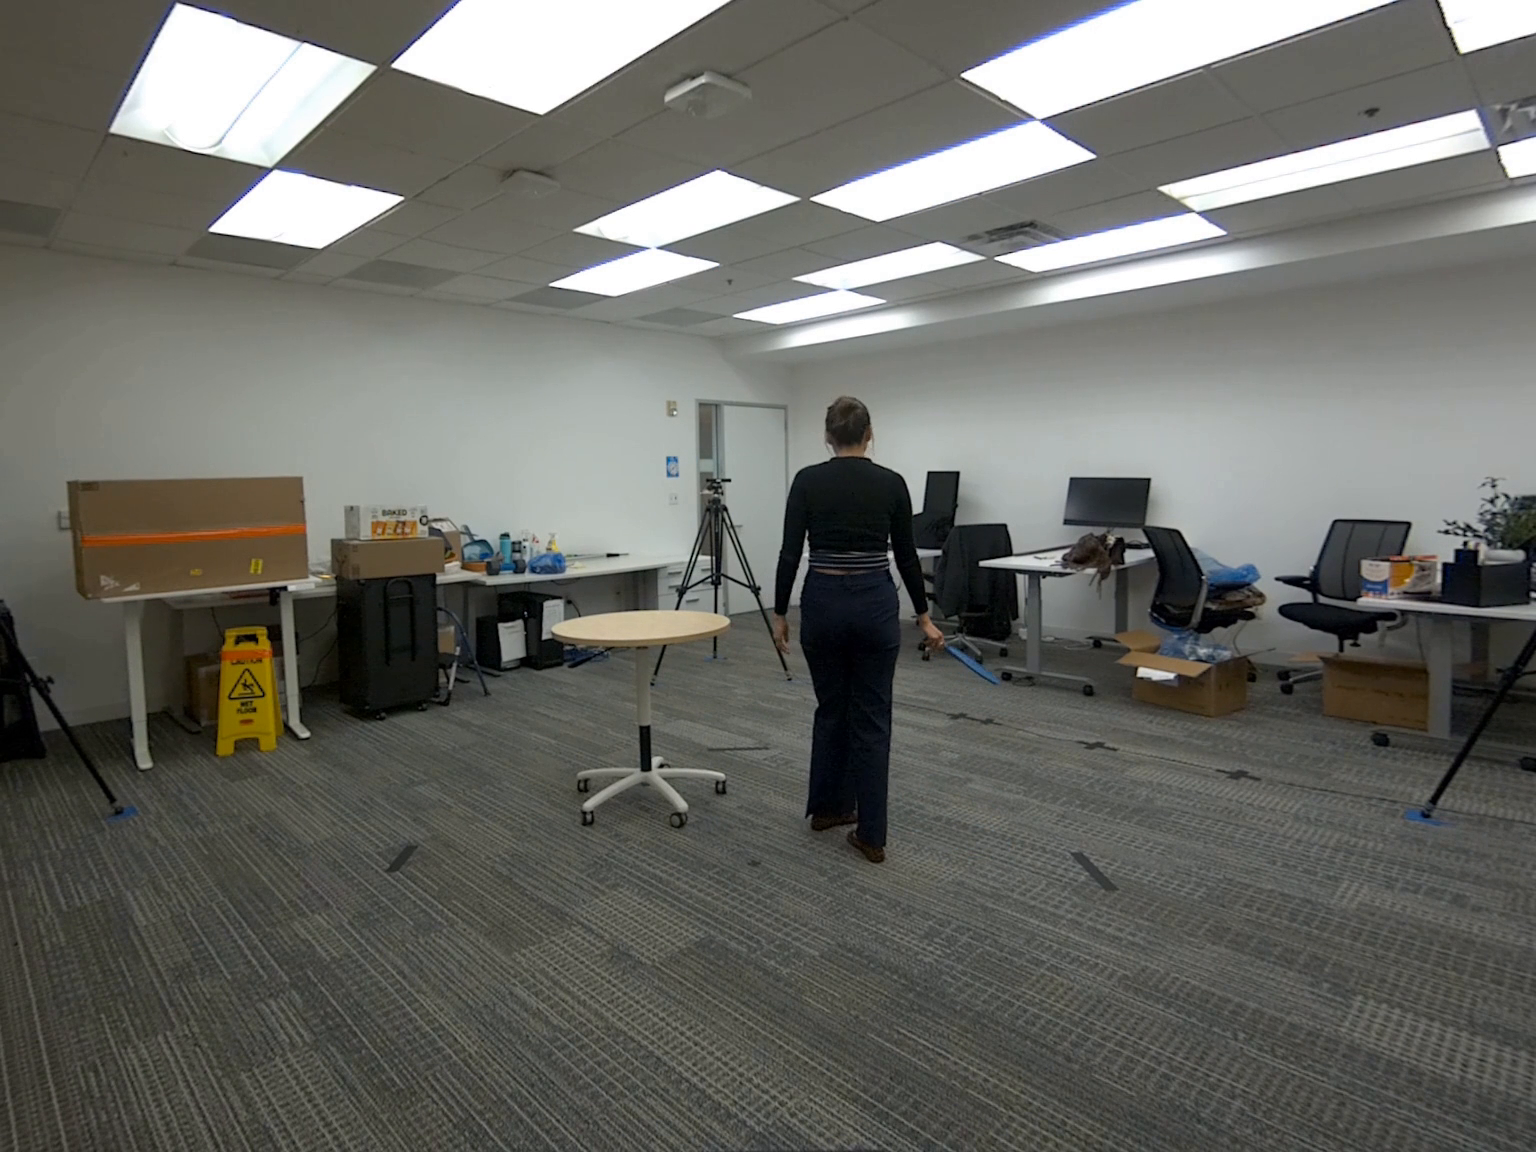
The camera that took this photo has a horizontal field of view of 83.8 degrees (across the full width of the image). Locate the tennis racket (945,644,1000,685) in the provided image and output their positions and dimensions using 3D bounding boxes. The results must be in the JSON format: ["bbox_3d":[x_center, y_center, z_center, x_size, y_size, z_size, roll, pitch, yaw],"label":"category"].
[{"bbox_3d":[0.742,0.317,3.425,0.419,0.032,0.221,28,13,-30],"label":"tennis racket"}]
